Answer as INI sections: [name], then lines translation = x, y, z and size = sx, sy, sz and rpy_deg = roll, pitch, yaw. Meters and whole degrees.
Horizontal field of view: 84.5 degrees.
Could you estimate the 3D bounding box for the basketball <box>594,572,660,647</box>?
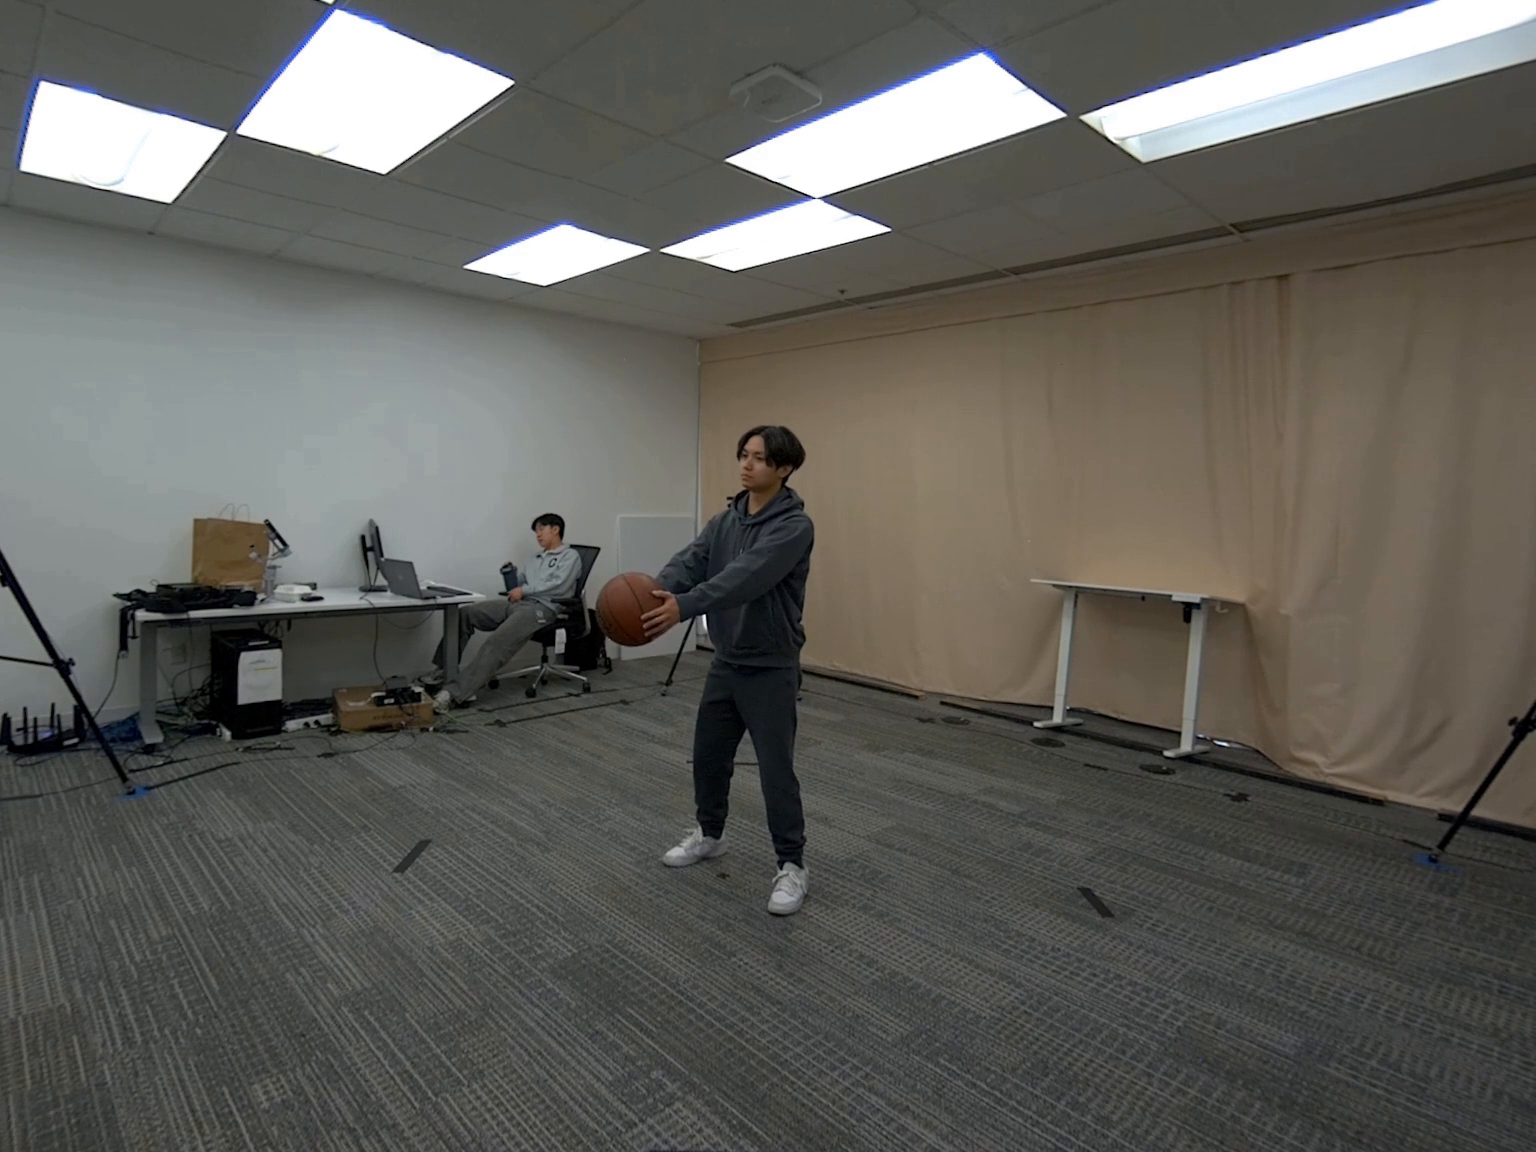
[basketball]
translation = -0.442, 0.116, 2.697
size = 0.236, 0.235, 0.237
rpy_deg = 1, 4, -1
